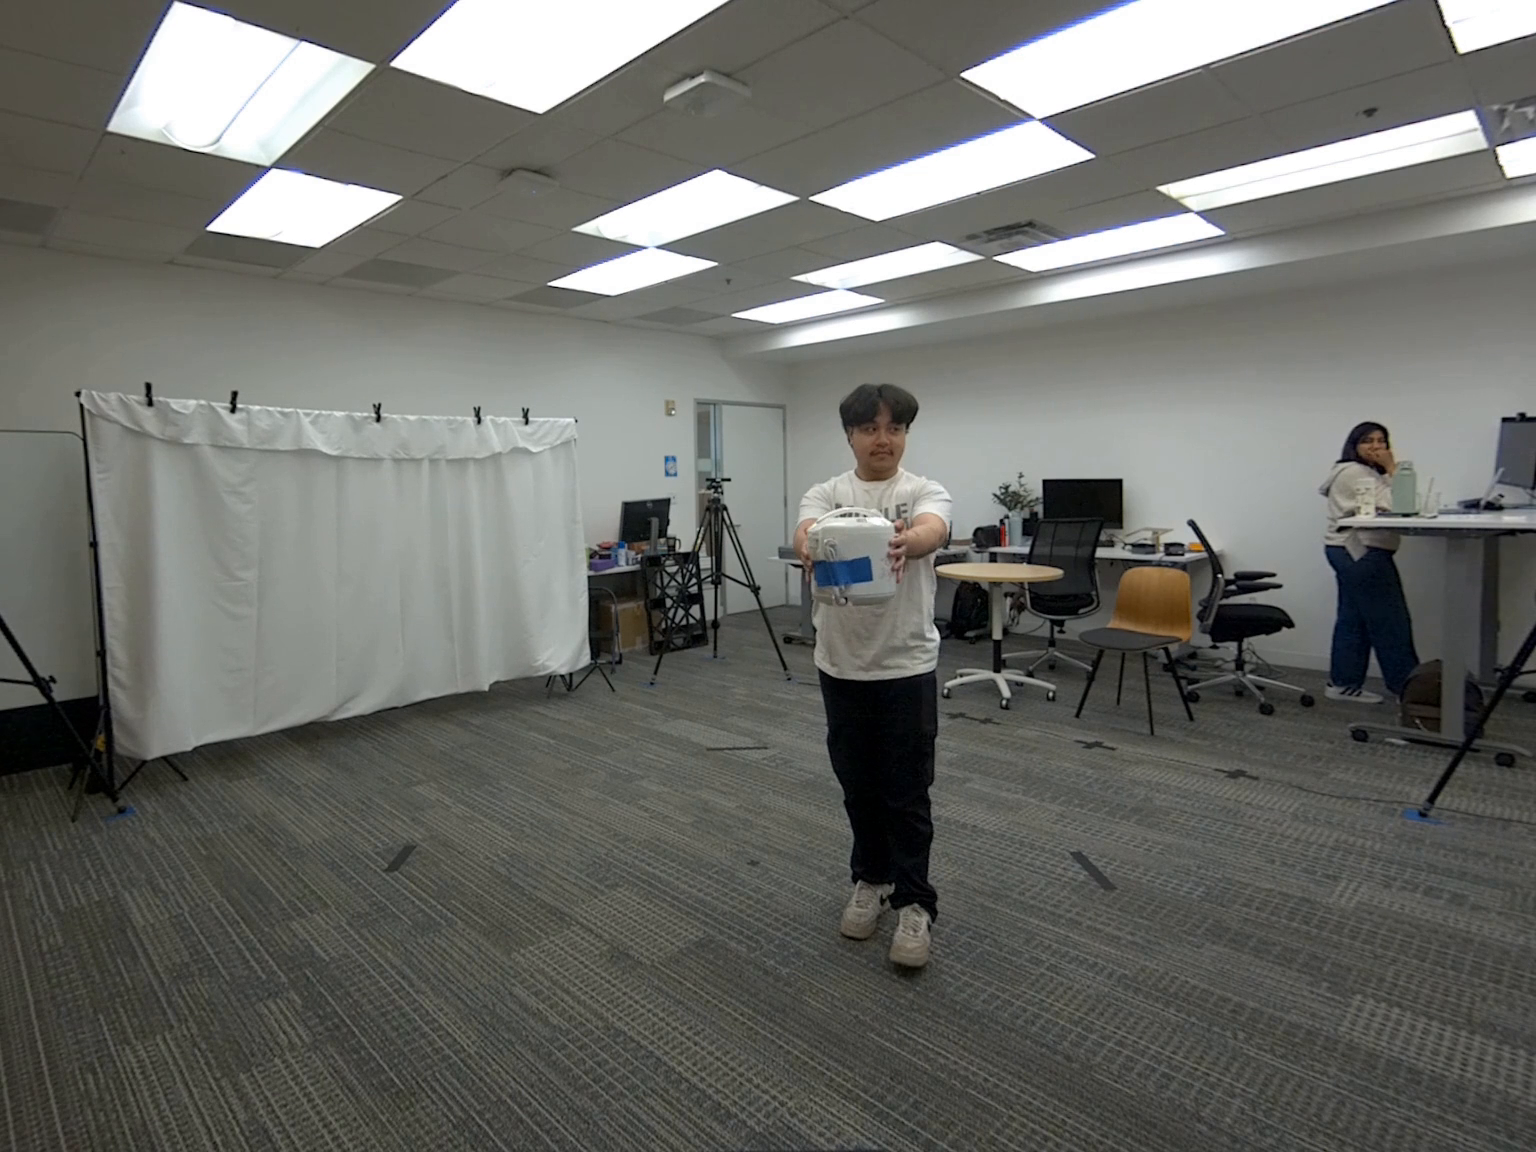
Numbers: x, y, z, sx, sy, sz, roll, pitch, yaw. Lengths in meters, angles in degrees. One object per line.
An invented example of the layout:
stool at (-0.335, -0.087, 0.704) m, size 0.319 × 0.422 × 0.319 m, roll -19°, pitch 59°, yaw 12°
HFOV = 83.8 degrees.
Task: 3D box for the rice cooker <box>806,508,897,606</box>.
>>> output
rice cooker at (0.200, -0.049, 2.062) m, size 0.217 × 0.232 × 0.221 m, roll -2°, pitch 3°, yaw -18°
